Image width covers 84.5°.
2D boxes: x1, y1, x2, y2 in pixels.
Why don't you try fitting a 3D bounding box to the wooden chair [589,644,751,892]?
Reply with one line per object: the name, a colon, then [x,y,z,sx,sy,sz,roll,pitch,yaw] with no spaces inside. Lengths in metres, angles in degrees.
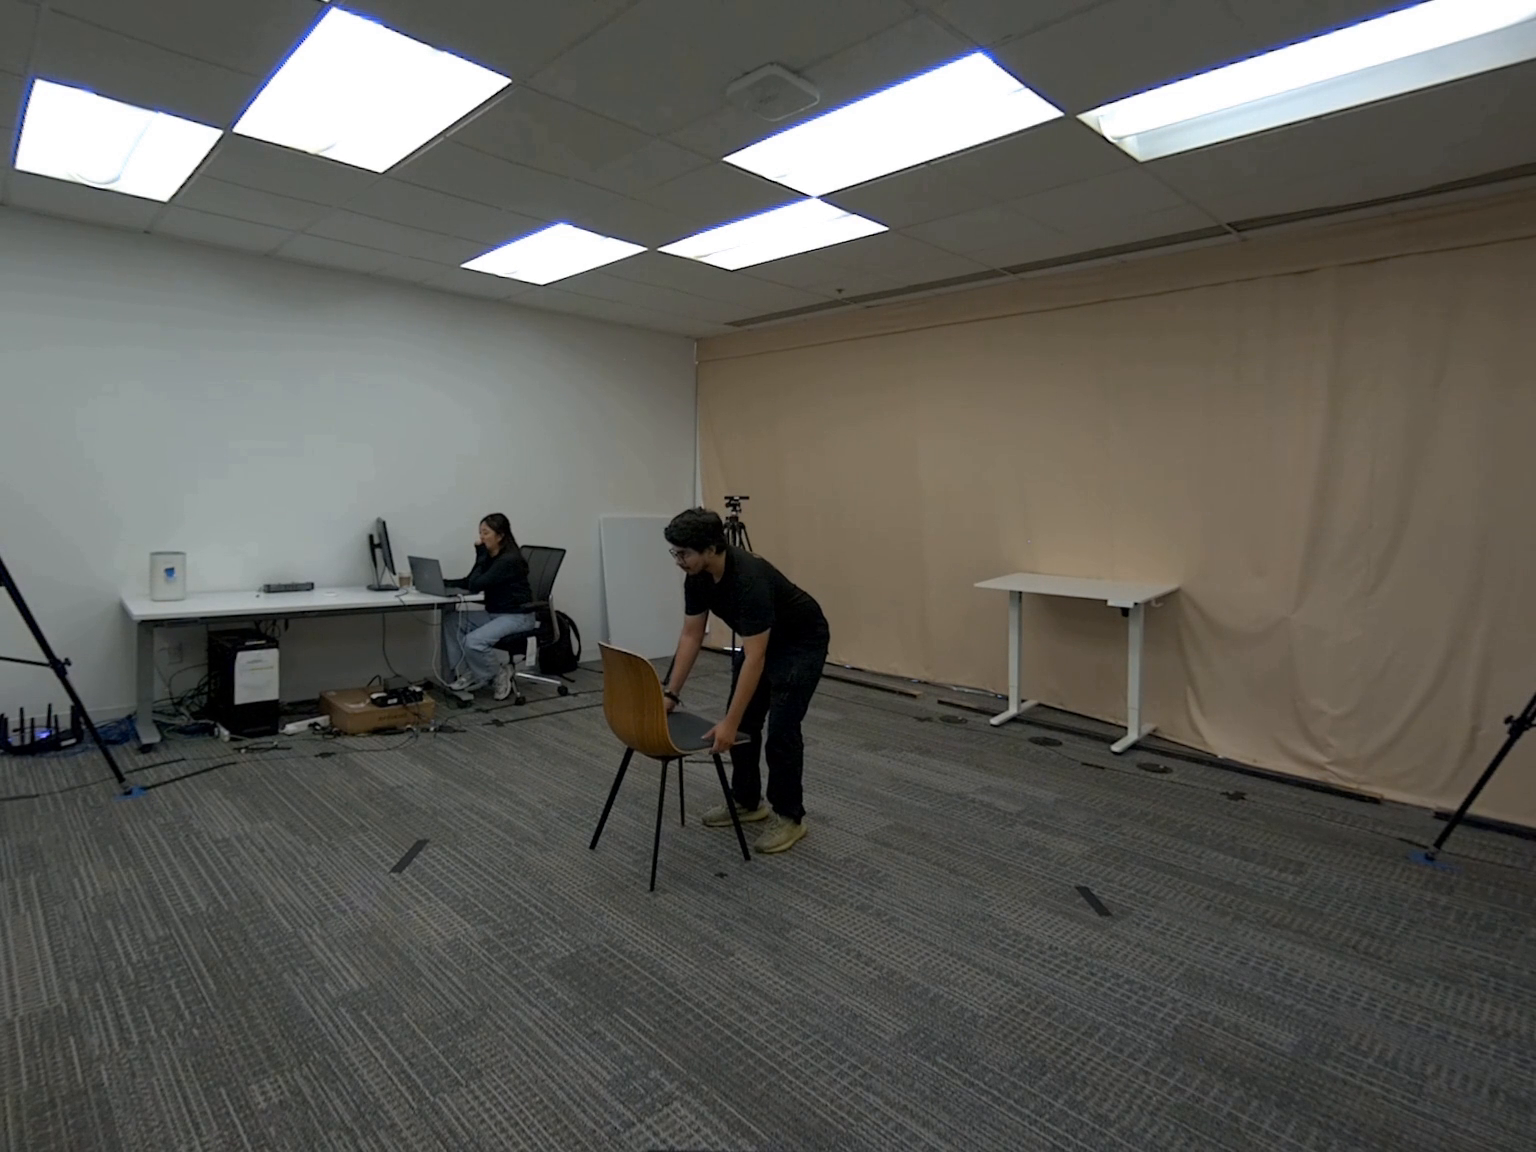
wooden chair: [-0.373,0.656,3.243,0.512,0.873,0.490,-7,8,-39]
